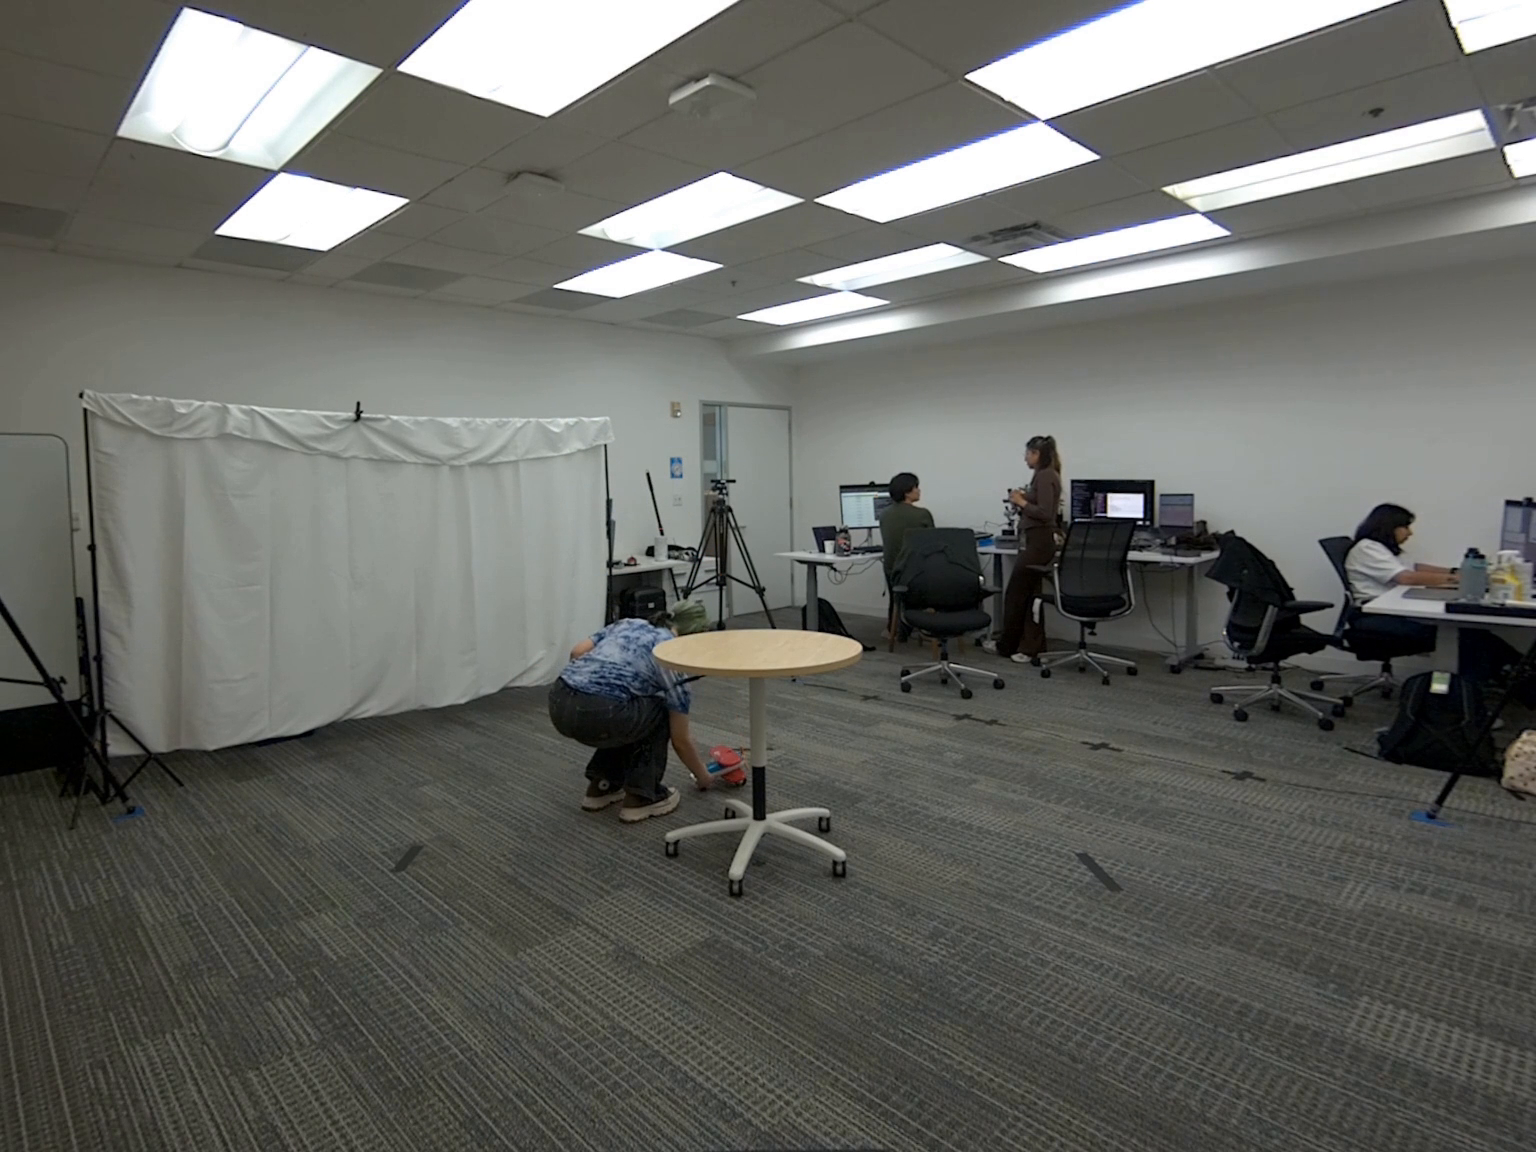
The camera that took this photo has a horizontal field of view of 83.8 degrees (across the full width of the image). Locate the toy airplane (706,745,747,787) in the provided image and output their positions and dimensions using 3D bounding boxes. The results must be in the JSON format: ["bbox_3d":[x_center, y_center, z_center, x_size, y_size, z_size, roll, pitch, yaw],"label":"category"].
[{"bbox_3d":[-0.217,0.878,3.888,0.258,0.156,0.252,3,4,39],"label":"toy airplane"}]
